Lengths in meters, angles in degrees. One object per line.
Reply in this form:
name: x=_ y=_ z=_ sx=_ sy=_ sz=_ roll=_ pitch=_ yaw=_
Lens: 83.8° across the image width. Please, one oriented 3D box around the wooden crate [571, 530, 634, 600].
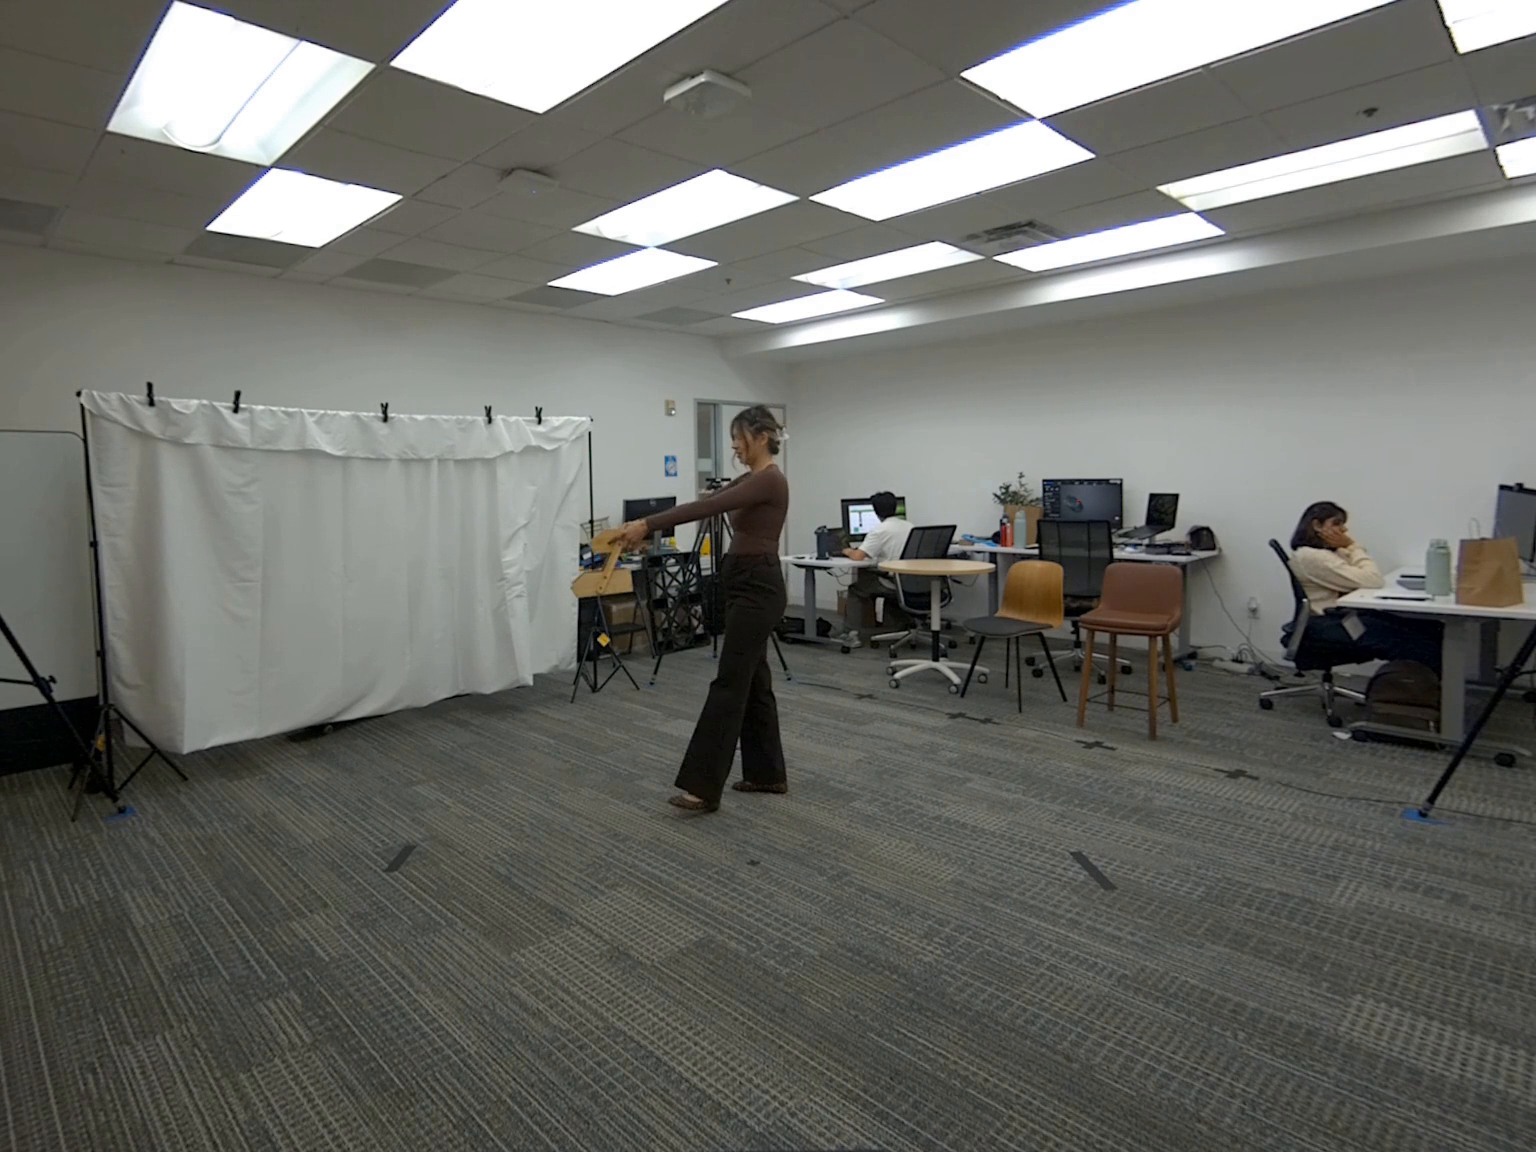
wooden crate: x=-0.687 y=-0.069 z=3.645 sx=0.302 sy=0.273 sz=0.325 roll=-4 pitch=3 yaw=-1
